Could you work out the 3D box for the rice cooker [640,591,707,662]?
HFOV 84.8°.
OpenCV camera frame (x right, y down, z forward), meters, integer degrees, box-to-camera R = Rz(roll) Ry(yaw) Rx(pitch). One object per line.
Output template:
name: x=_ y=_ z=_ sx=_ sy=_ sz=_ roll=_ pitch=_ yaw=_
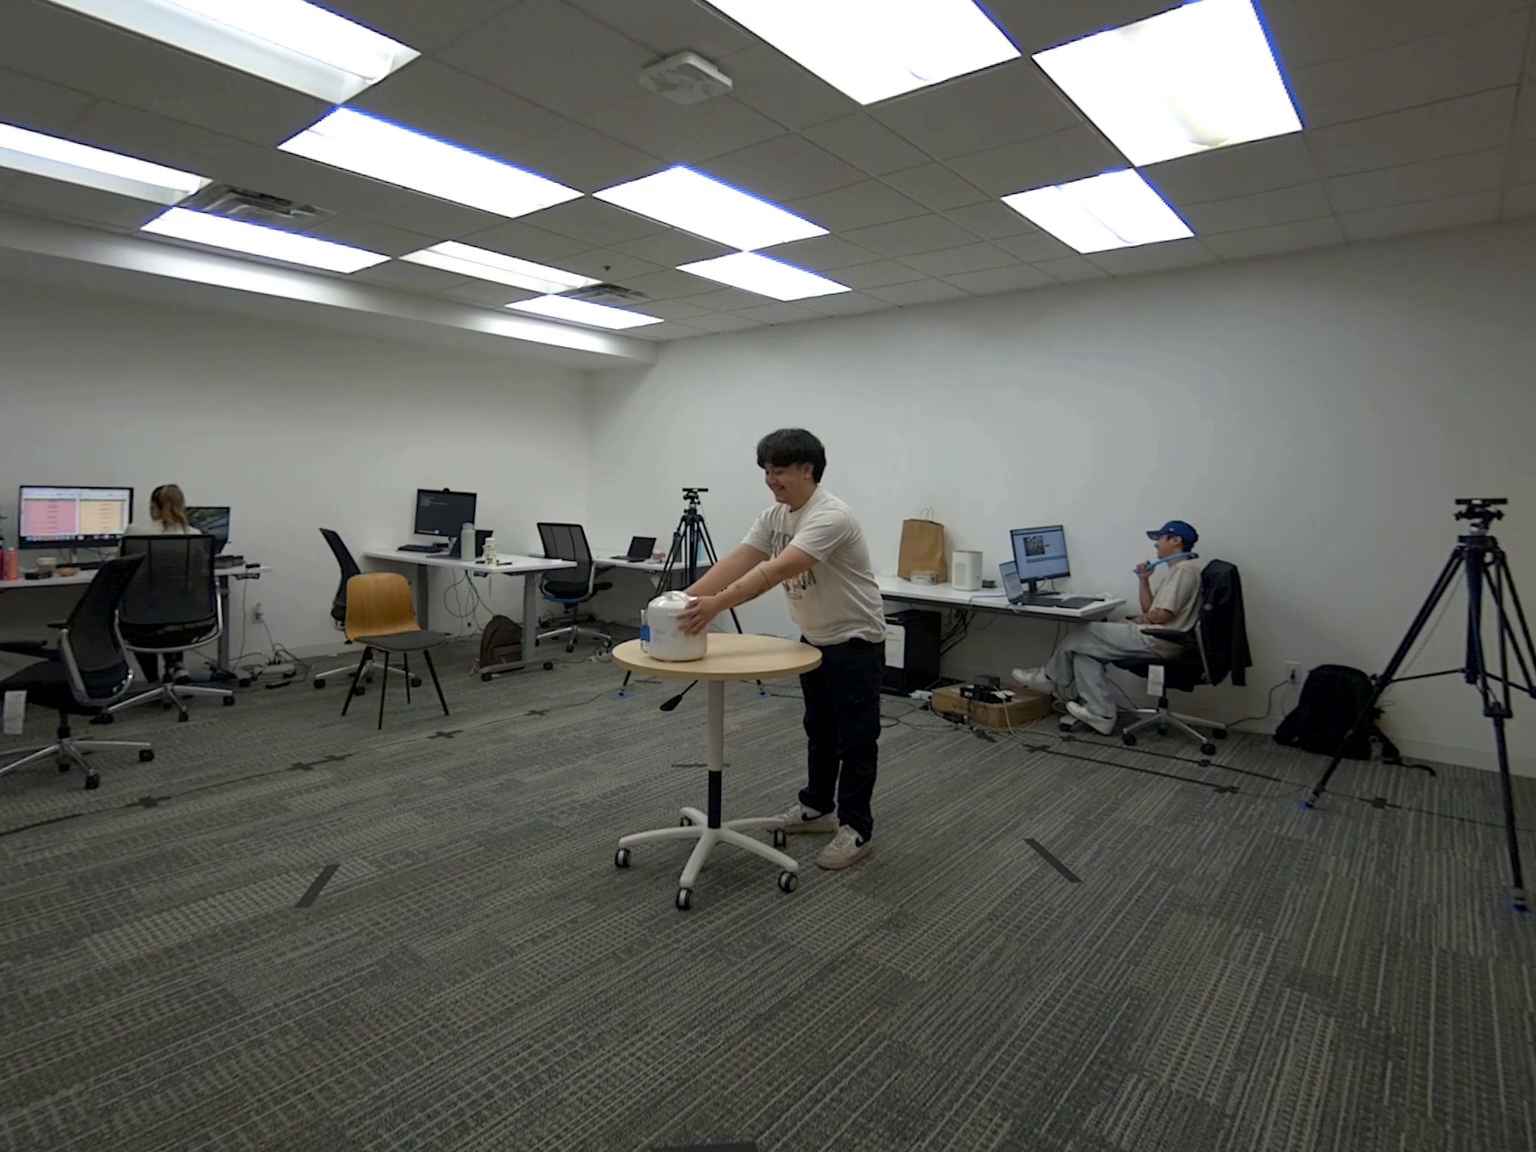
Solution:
rice cooker: x=-0.322 y=0.167 z=2.983 sx=0.211 sy=0.232 sz=0.228 roll=-1 pitch=7 yaw=-33
